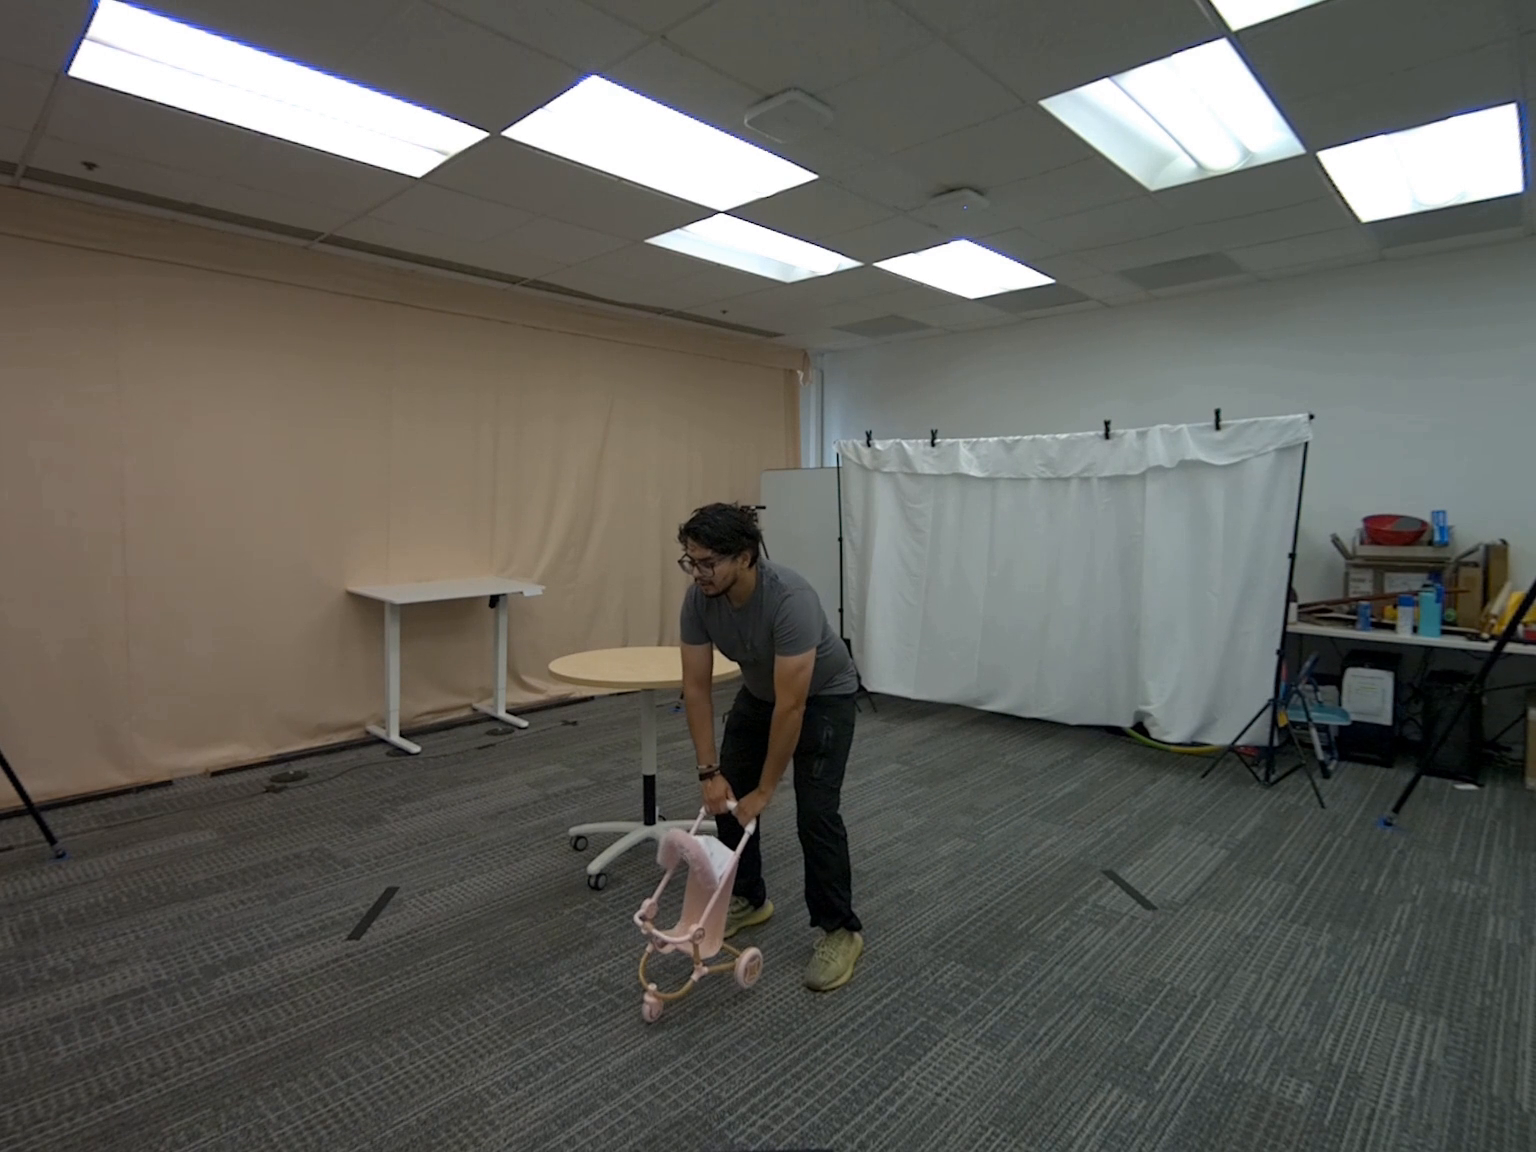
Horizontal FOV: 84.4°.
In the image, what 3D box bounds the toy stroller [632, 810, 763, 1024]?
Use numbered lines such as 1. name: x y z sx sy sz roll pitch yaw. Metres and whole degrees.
1. toy stroller: -0.214 0.933 2.344 0.330 0.534 0.291 2 3 -42
